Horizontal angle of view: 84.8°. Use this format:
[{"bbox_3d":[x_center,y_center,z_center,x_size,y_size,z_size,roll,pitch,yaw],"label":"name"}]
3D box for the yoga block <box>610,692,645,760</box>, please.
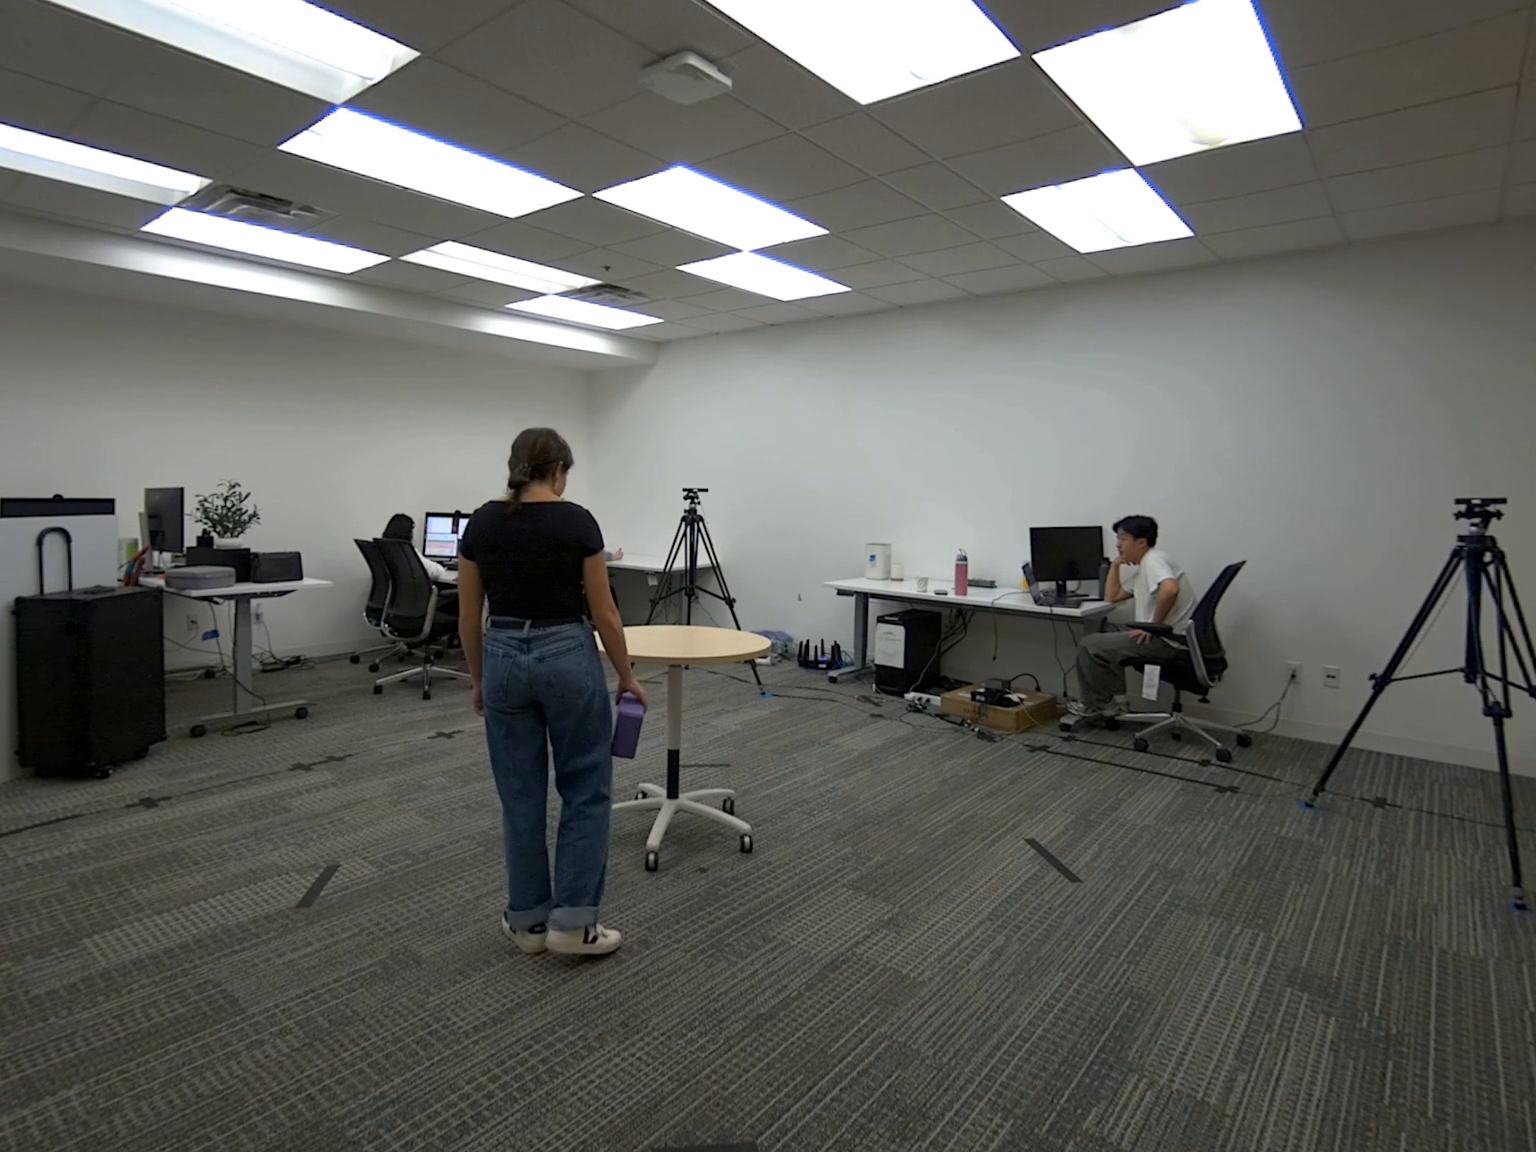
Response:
[{"bbox_3d":[-0.447,0.457,2.678,0.076,0.147,0.233,4,12,-8],"label":"yoga block"}]
